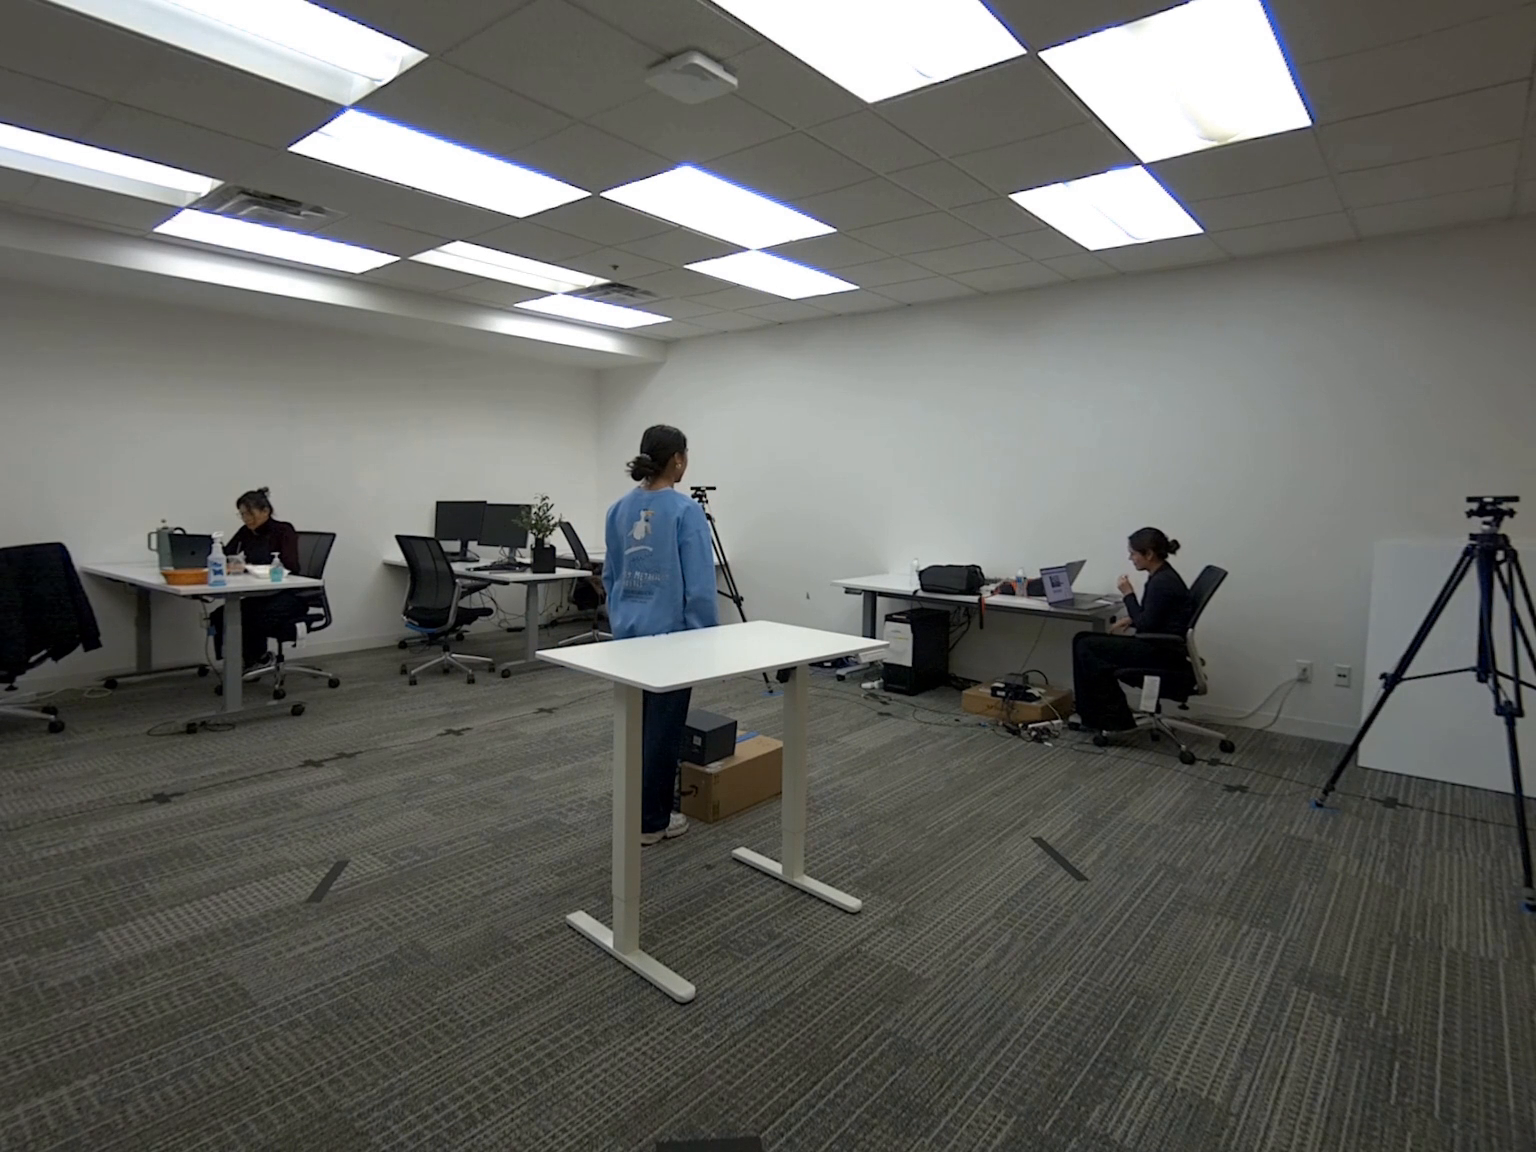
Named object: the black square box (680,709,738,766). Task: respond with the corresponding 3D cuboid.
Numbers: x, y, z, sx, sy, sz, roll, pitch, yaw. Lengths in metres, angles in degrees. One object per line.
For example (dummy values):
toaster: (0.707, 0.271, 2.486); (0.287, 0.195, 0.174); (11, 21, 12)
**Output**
black square box: (-0.301, 0.695, 3.722); (0.224, 0.155, 0.221); (9, 8, 35)
